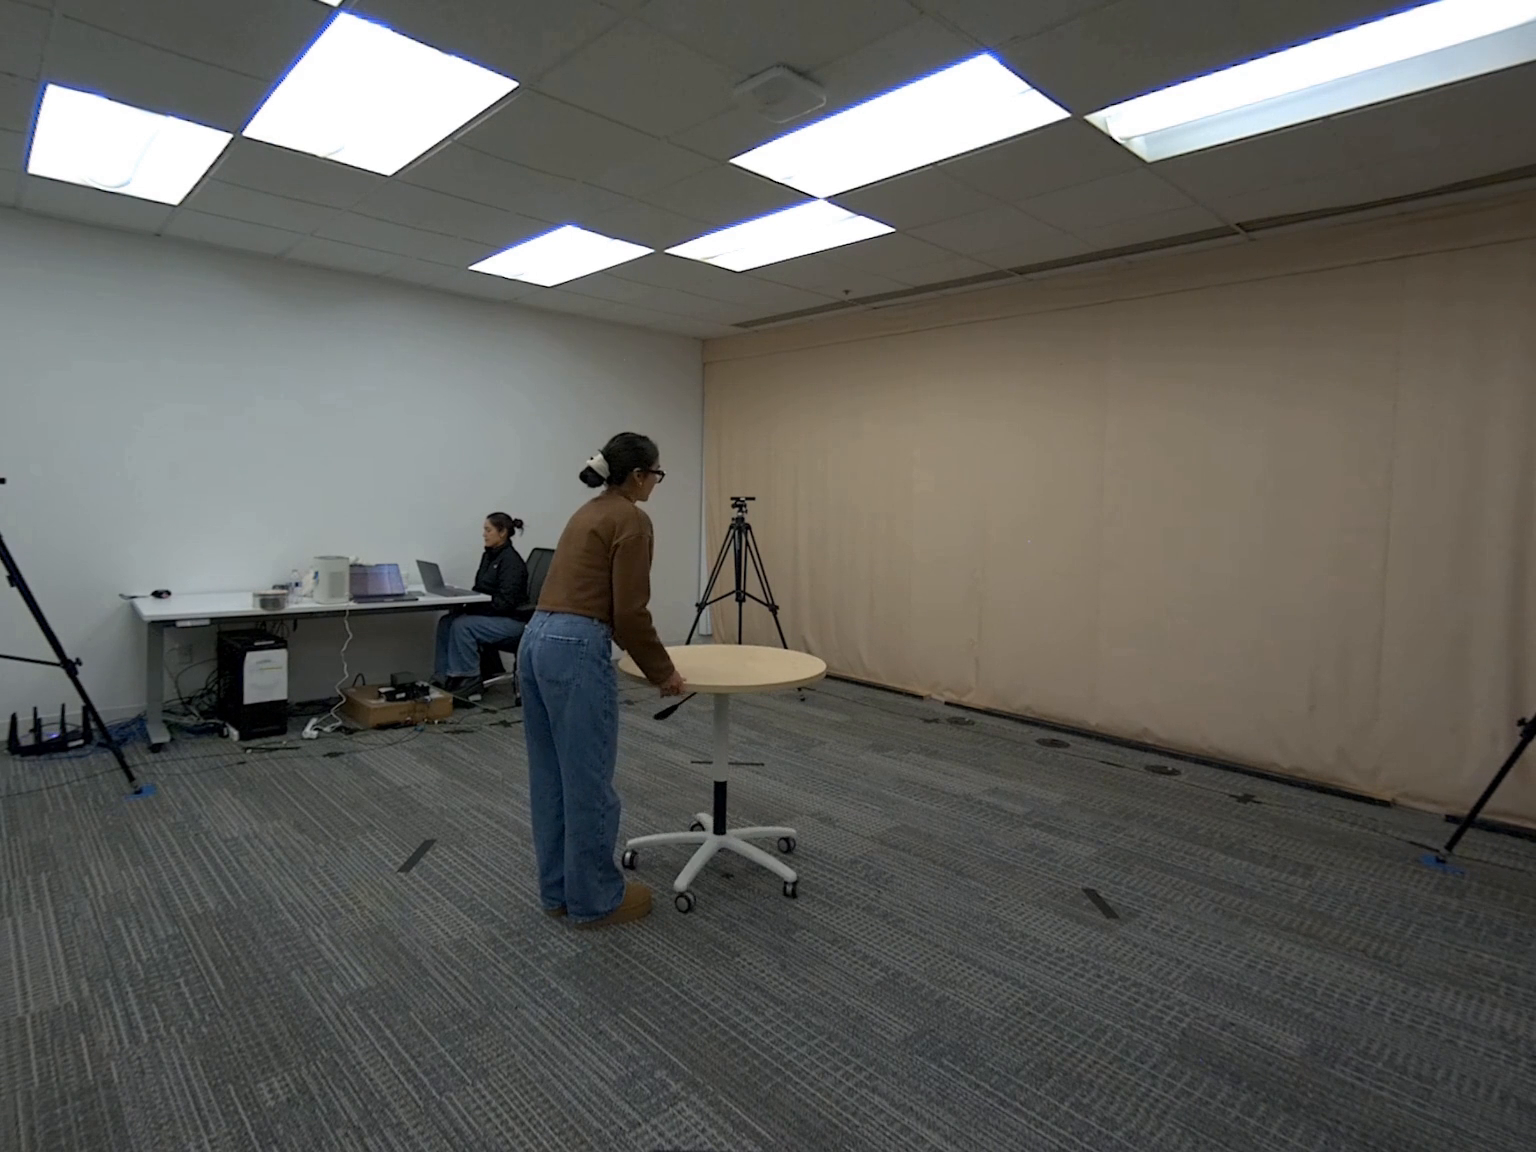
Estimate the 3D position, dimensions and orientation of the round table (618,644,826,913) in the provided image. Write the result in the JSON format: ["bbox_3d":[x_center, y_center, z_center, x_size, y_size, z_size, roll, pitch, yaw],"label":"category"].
[{"bbox_3d":[-0.181,0.713,3.138,0.763,0.792,0.766,1,4,-1],"label":"round table"}]
